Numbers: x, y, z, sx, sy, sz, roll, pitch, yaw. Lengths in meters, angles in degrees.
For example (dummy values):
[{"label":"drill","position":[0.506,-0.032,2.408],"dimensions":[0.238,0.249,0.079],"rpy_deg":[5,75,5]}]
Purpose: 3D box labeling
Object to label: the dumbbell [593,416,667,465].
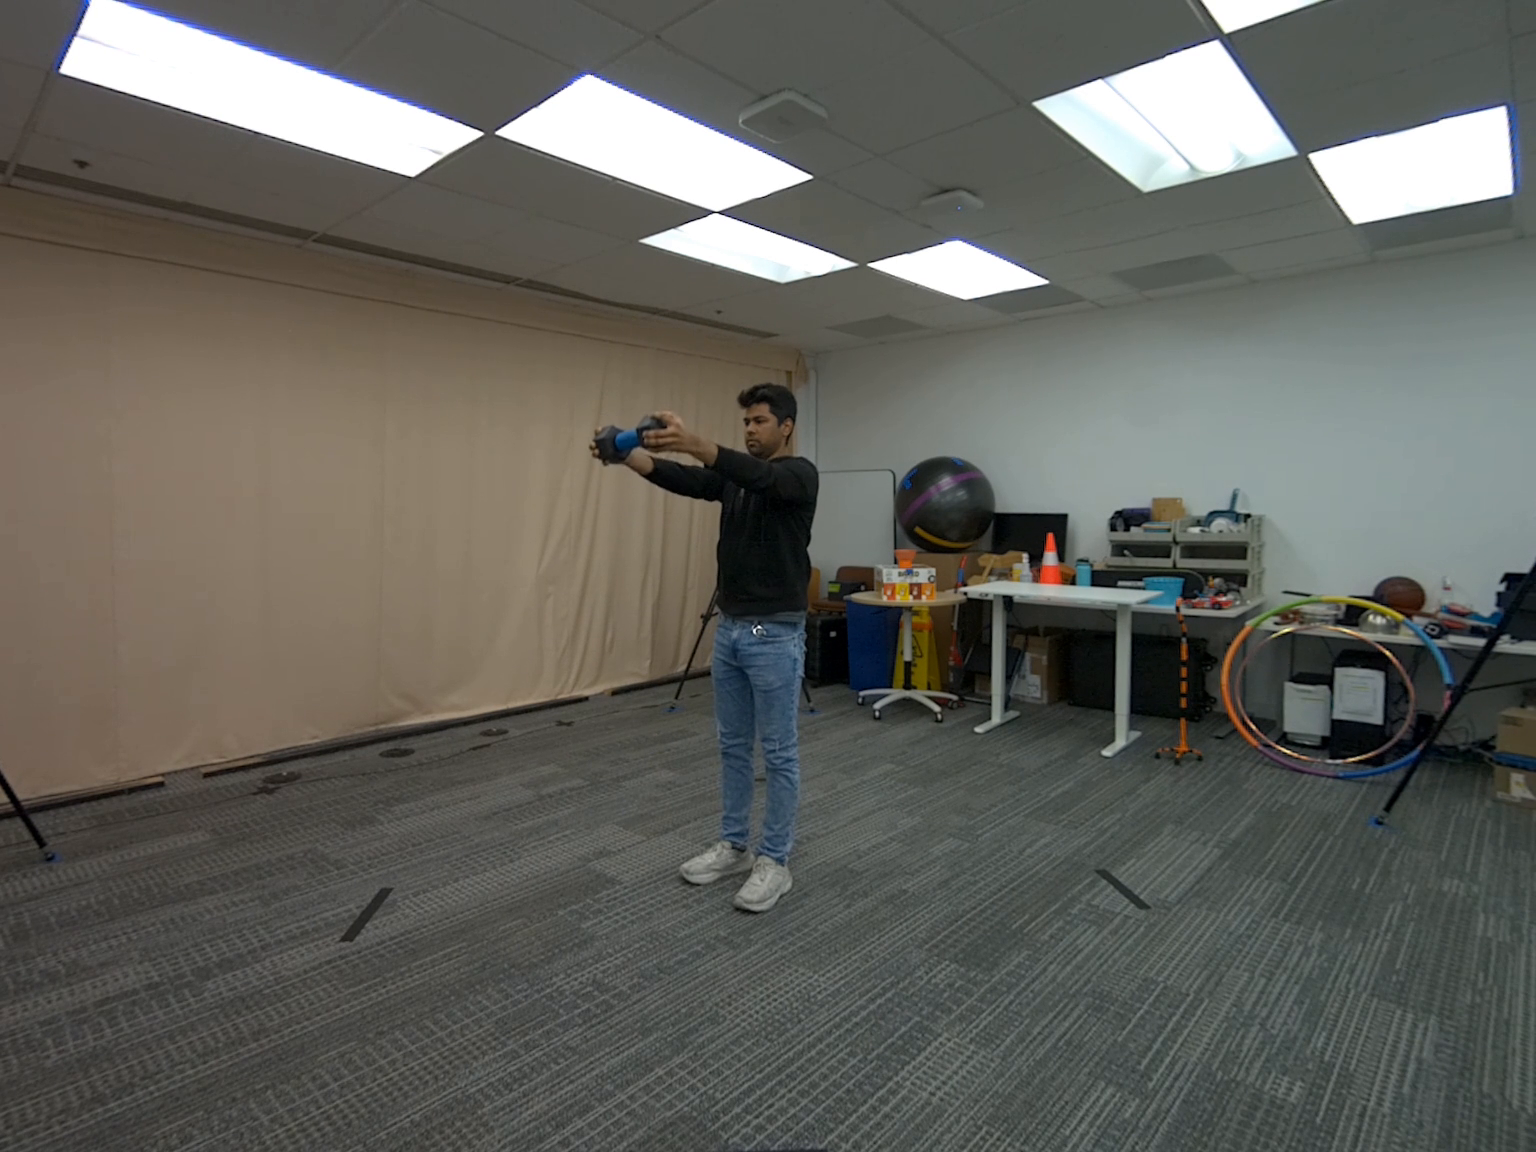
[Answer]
[{"label":"dumbbell","position":[-0.411,-0.433,2.643],"dimensions":[0.302,0.122,0.106],"rpy_deg":[-6,13,40]}]
